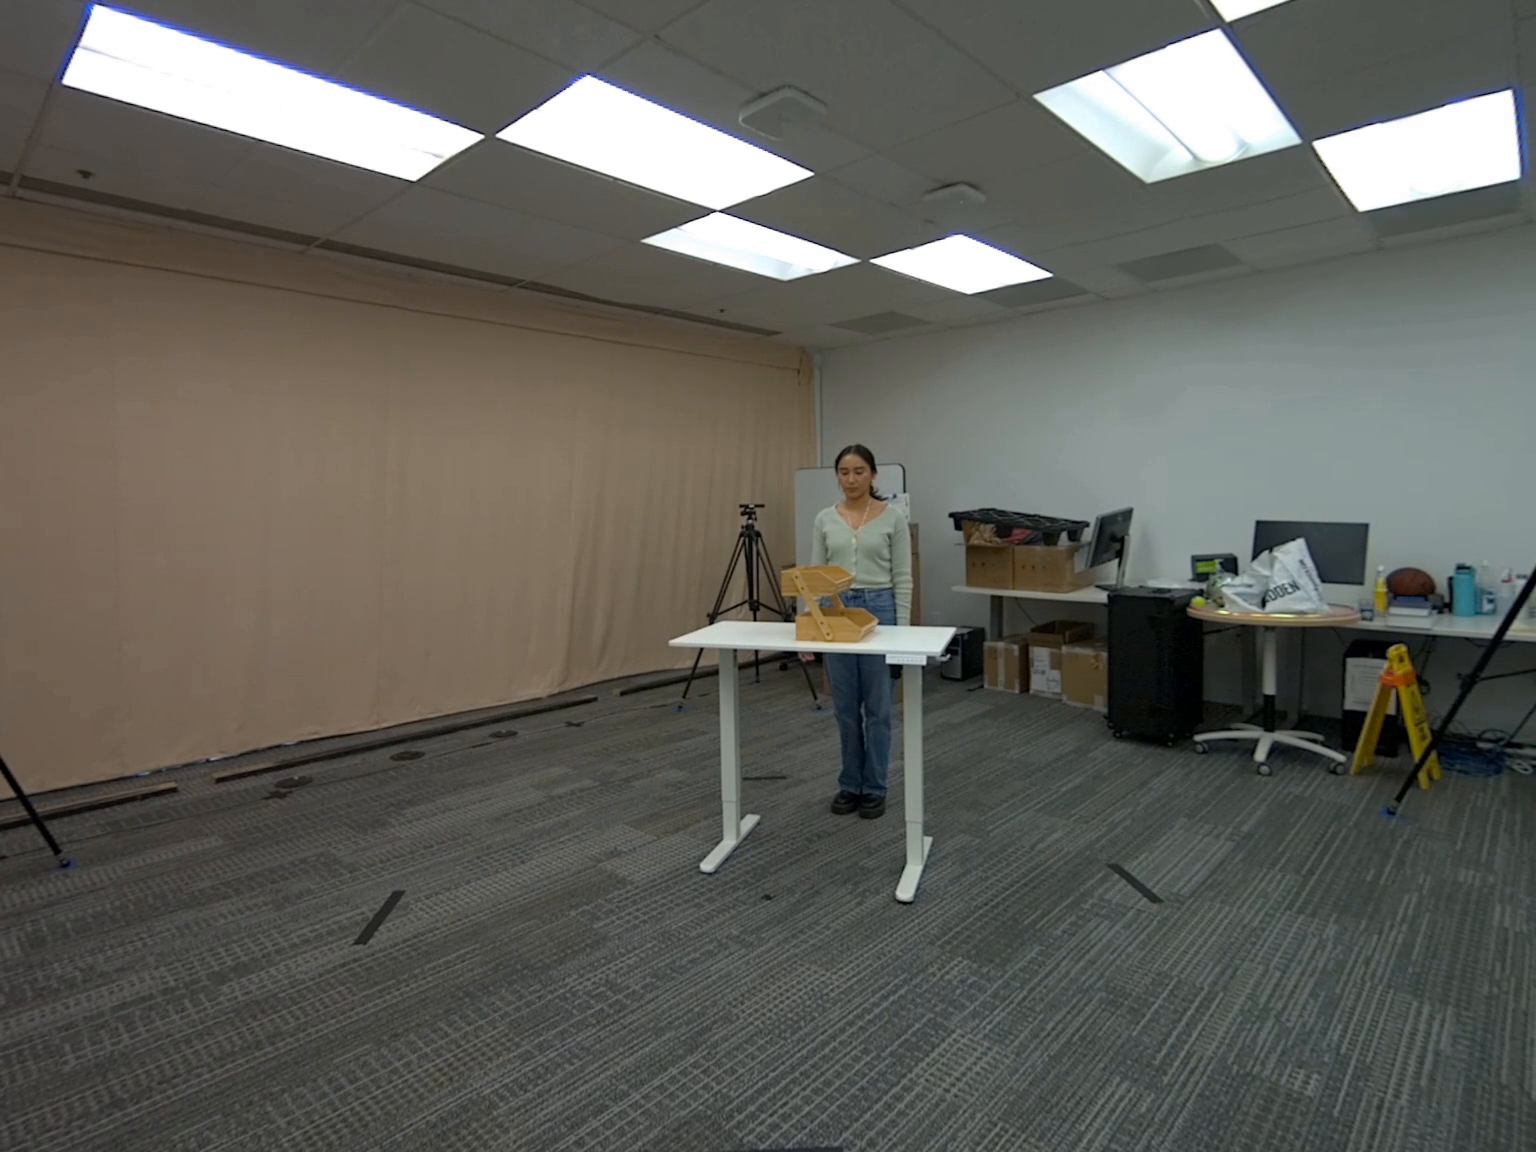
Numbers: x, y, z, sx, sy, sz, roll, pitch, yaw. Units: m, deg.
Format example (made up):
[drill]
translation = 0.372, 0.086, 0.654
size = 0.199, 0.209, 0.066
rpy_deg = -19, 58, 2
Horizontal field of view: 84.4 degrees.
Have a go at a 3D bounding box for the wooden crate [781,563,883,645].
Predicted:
[wooden crate]
translation = 0.248, 0.094, 3.223
size = 0.308, 0.273, 0.318
rpy_deg = -2, 3, 19
